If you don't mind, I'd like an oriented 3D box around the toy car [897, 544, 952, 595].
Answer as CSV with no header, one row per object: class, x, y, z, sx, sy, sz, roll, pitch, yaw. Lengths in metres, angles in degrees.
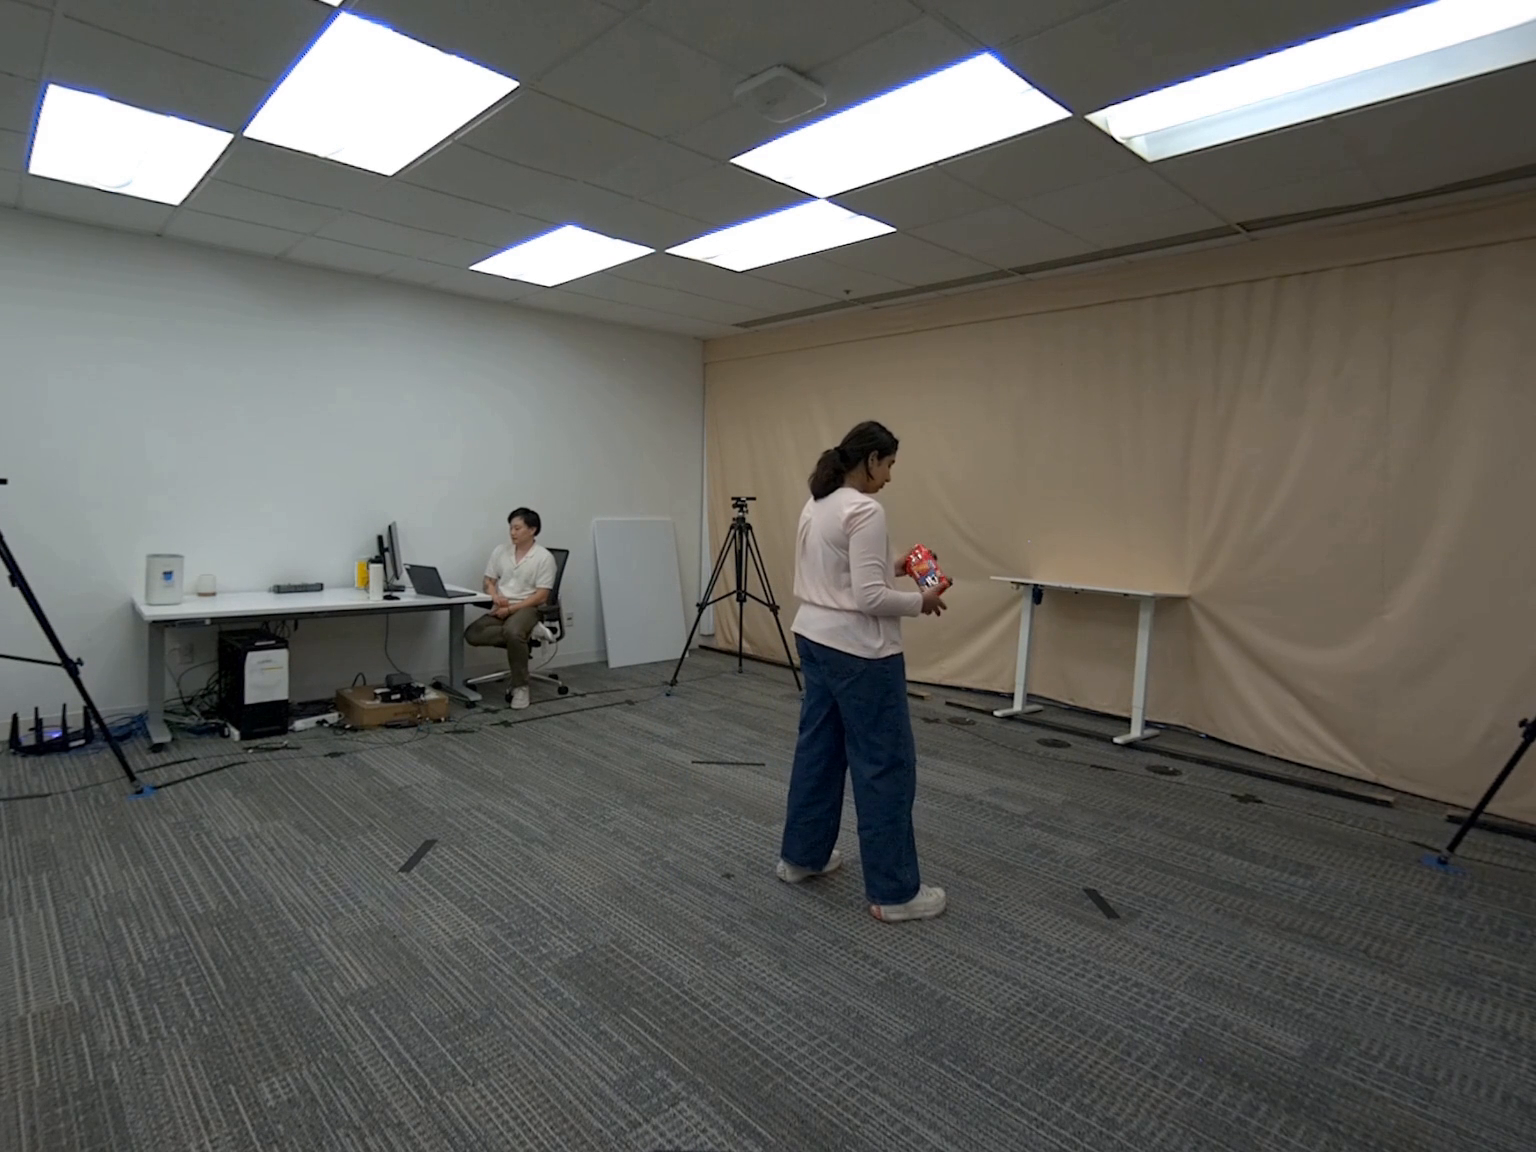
toy car,0.567,-0.016,3.066,0.080,0.130,0.262,28,26,-44
